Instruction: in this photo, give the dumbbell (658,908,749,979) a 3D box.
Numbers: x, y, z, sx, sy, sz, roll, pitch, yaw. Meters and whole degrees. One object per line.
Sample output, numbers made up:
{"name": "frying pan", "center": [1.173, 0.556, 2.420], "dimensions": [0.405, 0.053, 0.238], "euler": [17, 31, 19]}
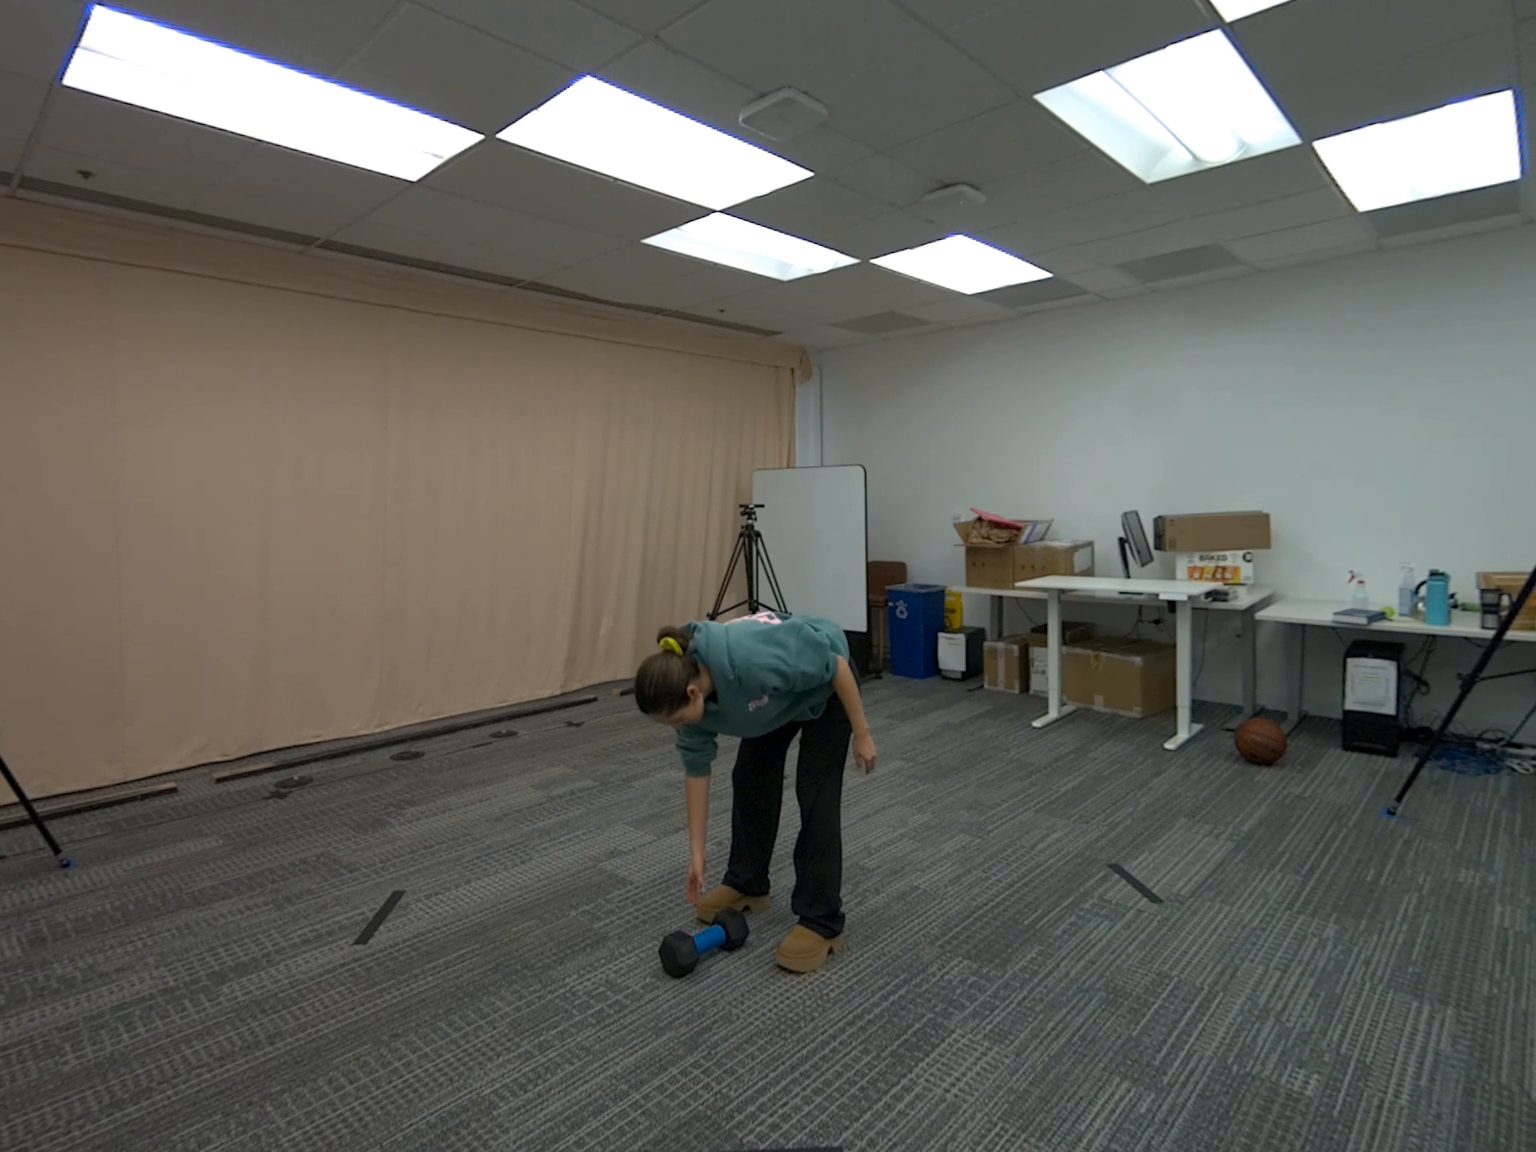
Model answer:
{"name": "dumbbell", "center": [-0.192, 1.129, 2.584], "dimensions": [0.285, 0.108, 0.127], "euler": [-5, 5, -44]}
